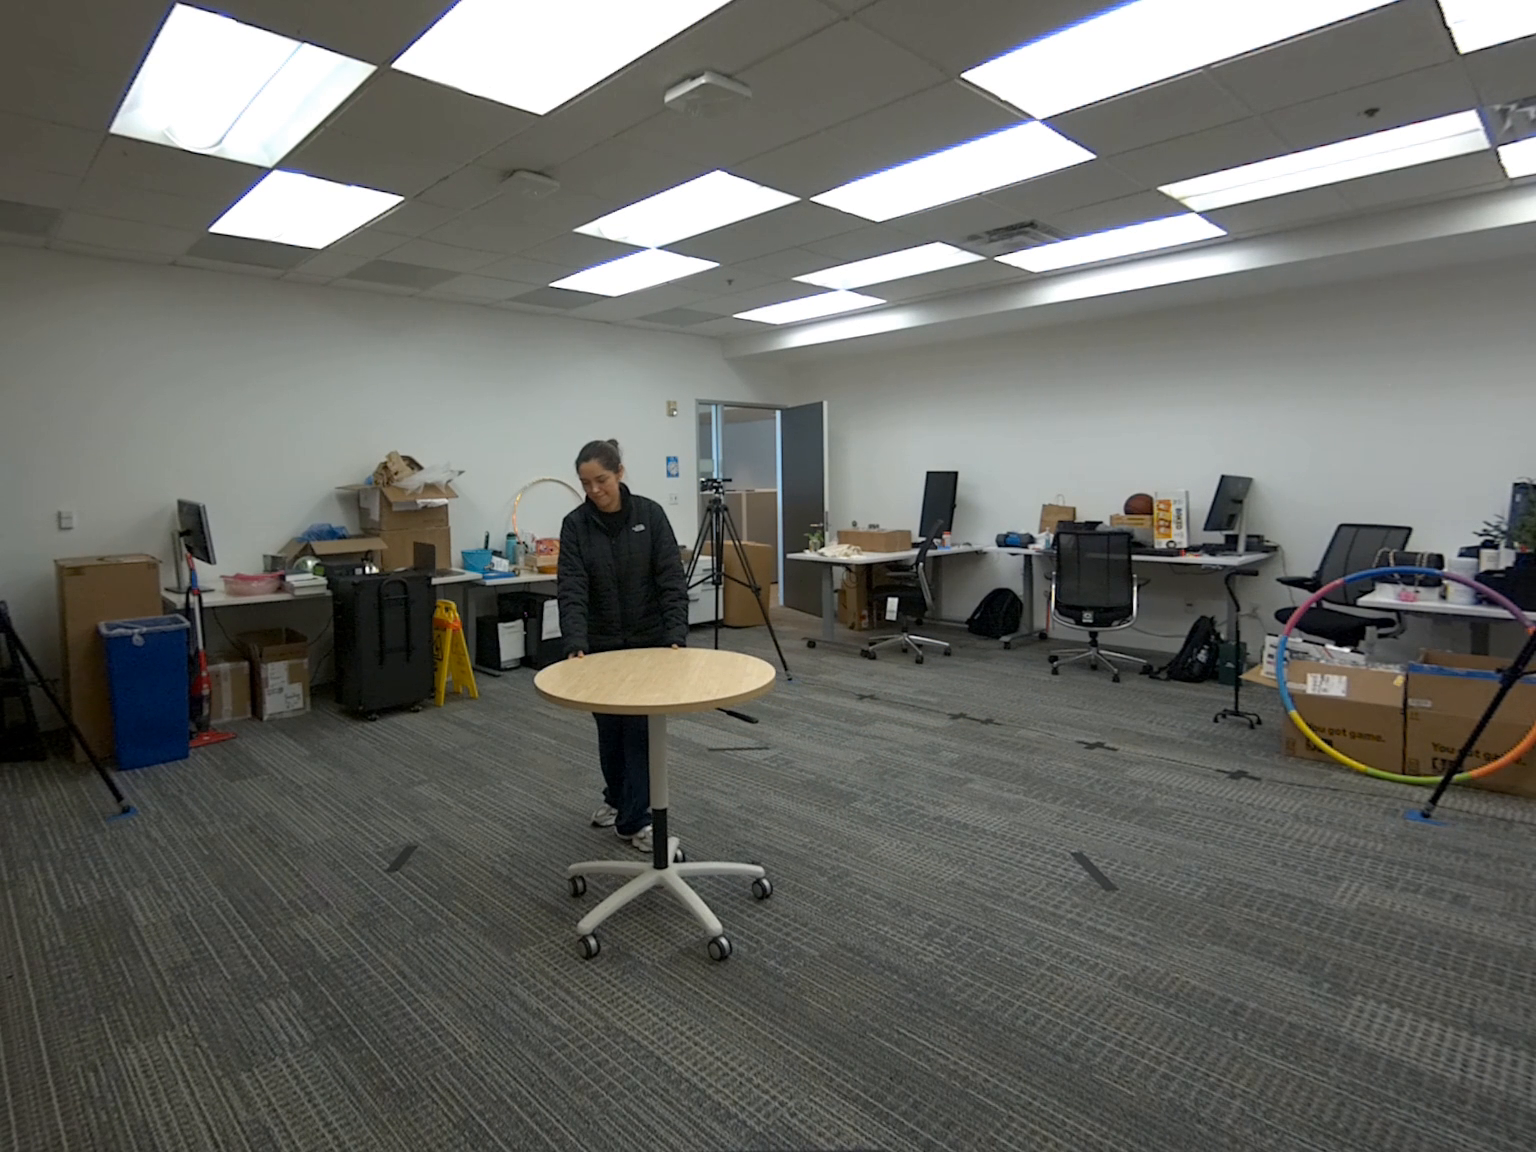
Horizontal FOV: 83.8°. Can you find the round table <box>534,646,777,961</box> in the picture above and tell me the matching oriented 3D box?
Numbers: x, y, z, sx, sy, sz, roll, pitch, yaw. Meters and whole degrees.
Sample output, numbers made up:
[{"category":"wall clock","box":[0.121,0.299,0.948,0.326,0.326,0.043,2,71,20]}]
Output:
[{"category":"round table","box":[-0.345,0.696,2.784,0.784,0.783,0.790,-1,6,-2]}]
